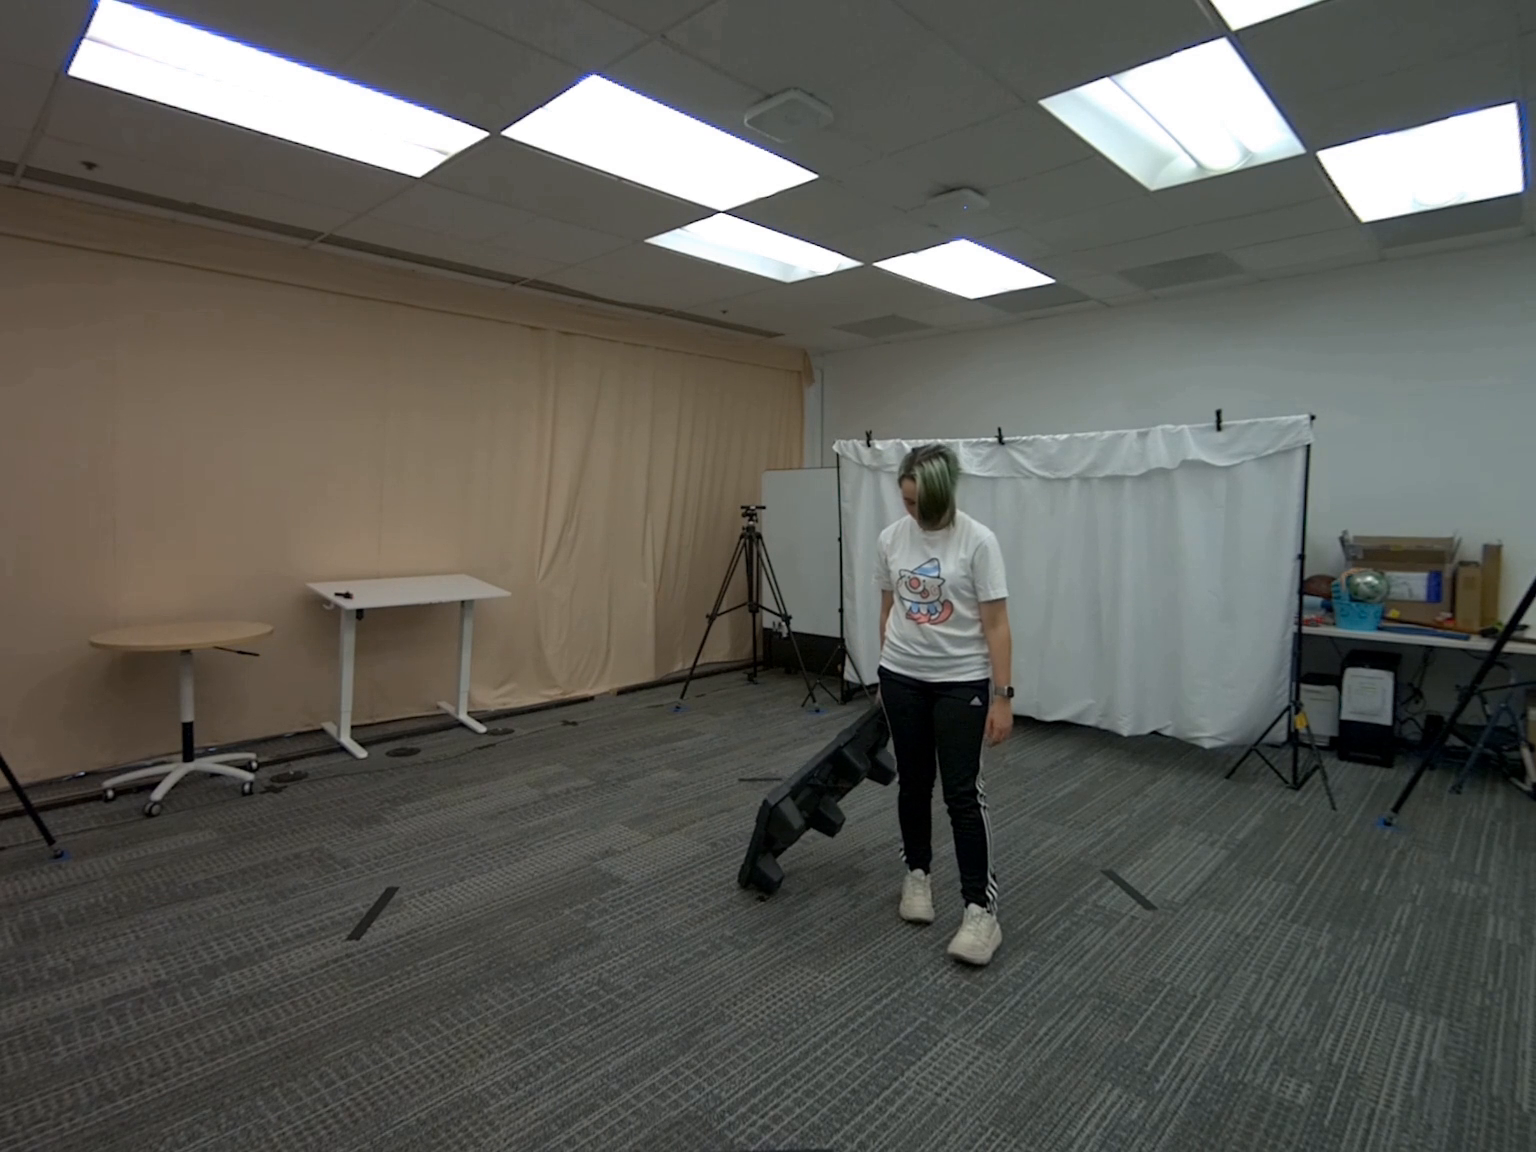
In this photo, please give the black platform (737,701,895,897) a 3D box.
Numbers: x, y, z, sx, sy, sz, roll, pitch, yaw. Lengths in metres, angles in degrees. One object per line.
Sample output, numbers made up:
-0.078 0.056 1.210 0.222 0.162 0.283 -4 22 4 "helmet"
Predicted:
0.249 0.783 3.073 0.148 0.597 0.792 39 51 26 "black platform"
